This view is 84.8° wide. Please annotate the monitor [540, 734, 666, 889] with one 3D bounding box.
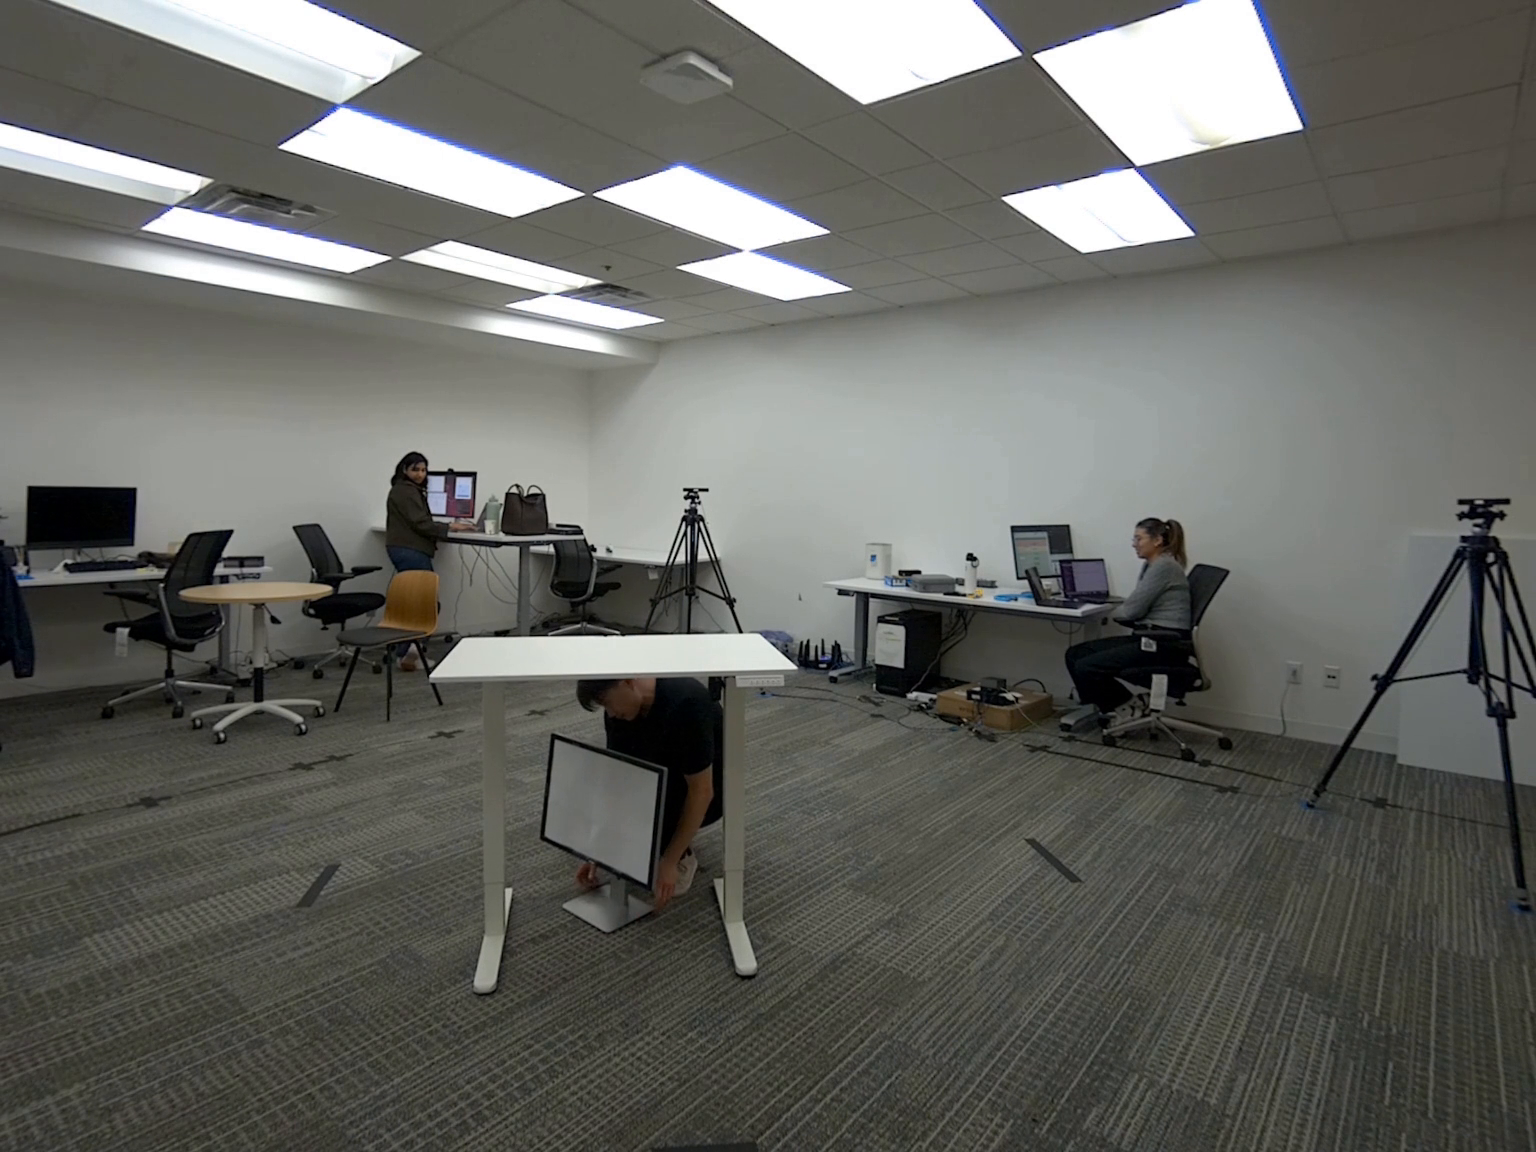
[{"bbox_3d":[-0.537,0.825,2.779,0.557,0.520,0.182,3,8,40],"label":"monitor"}]
